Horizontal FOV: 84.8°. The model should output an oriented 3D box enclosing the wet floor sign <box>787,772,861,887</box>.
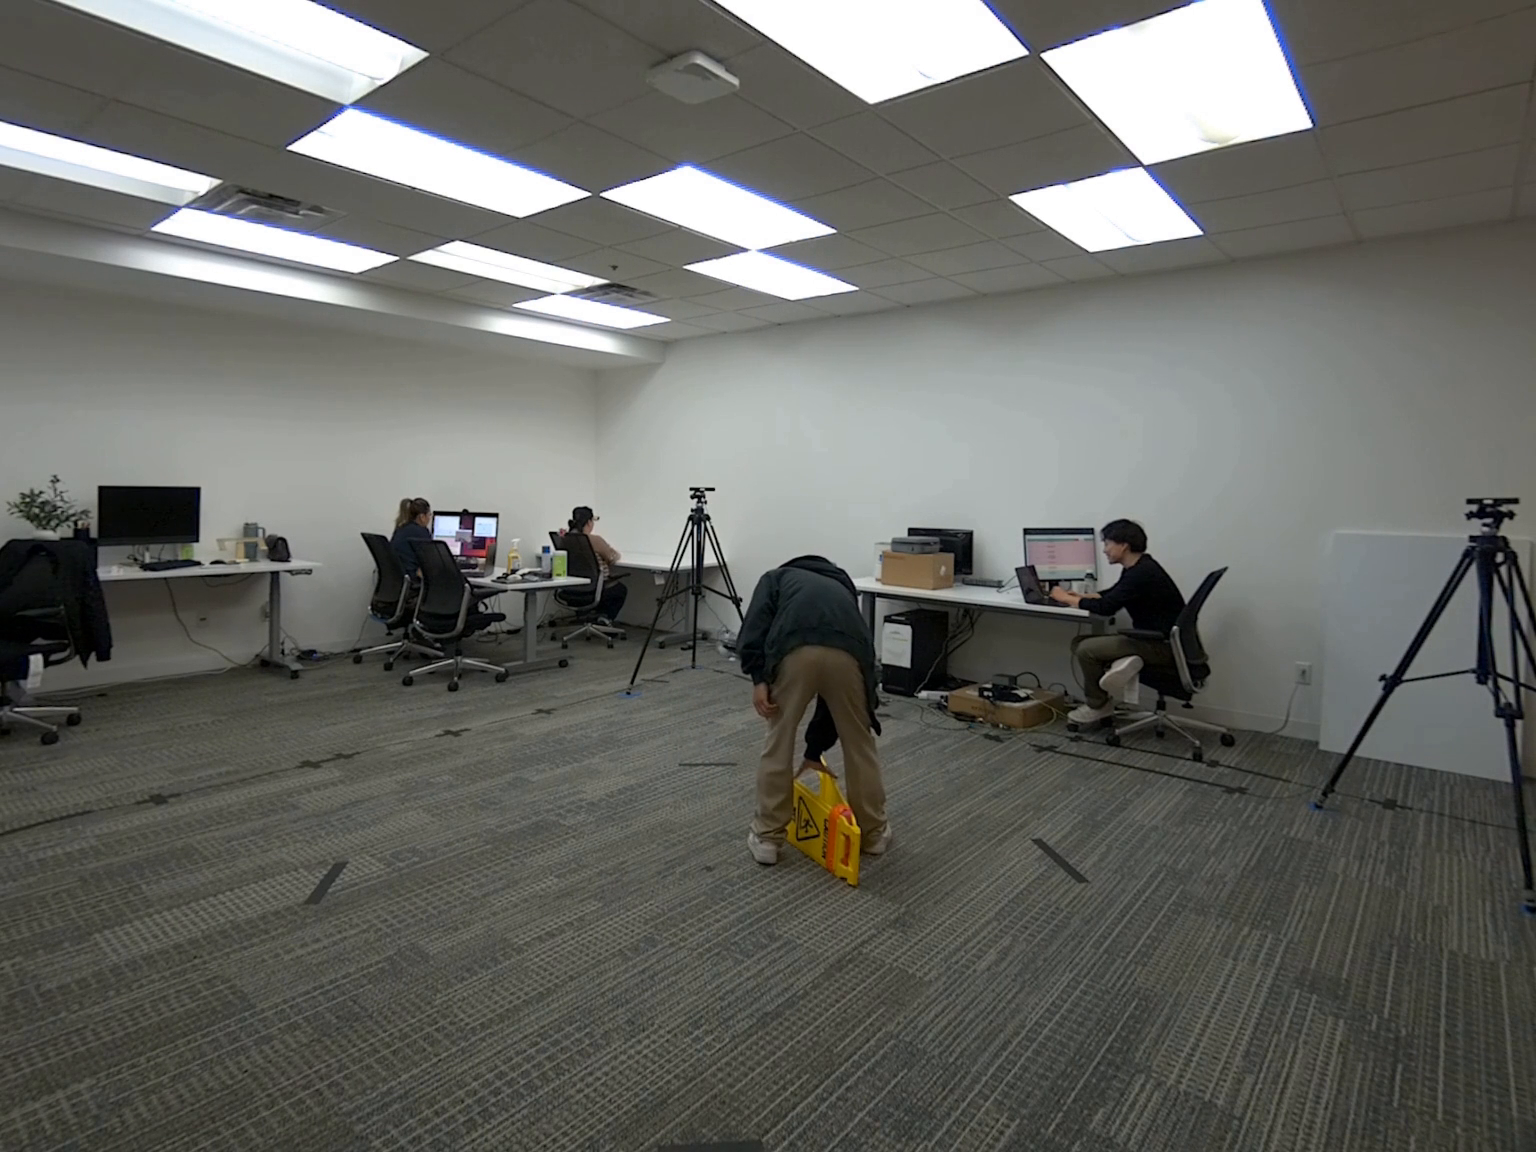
[{"bbox_3d":[0.206,0.934,3.279,0.284,0.280,0.662,0,8,-19],"label":"wet floor sign"}]
